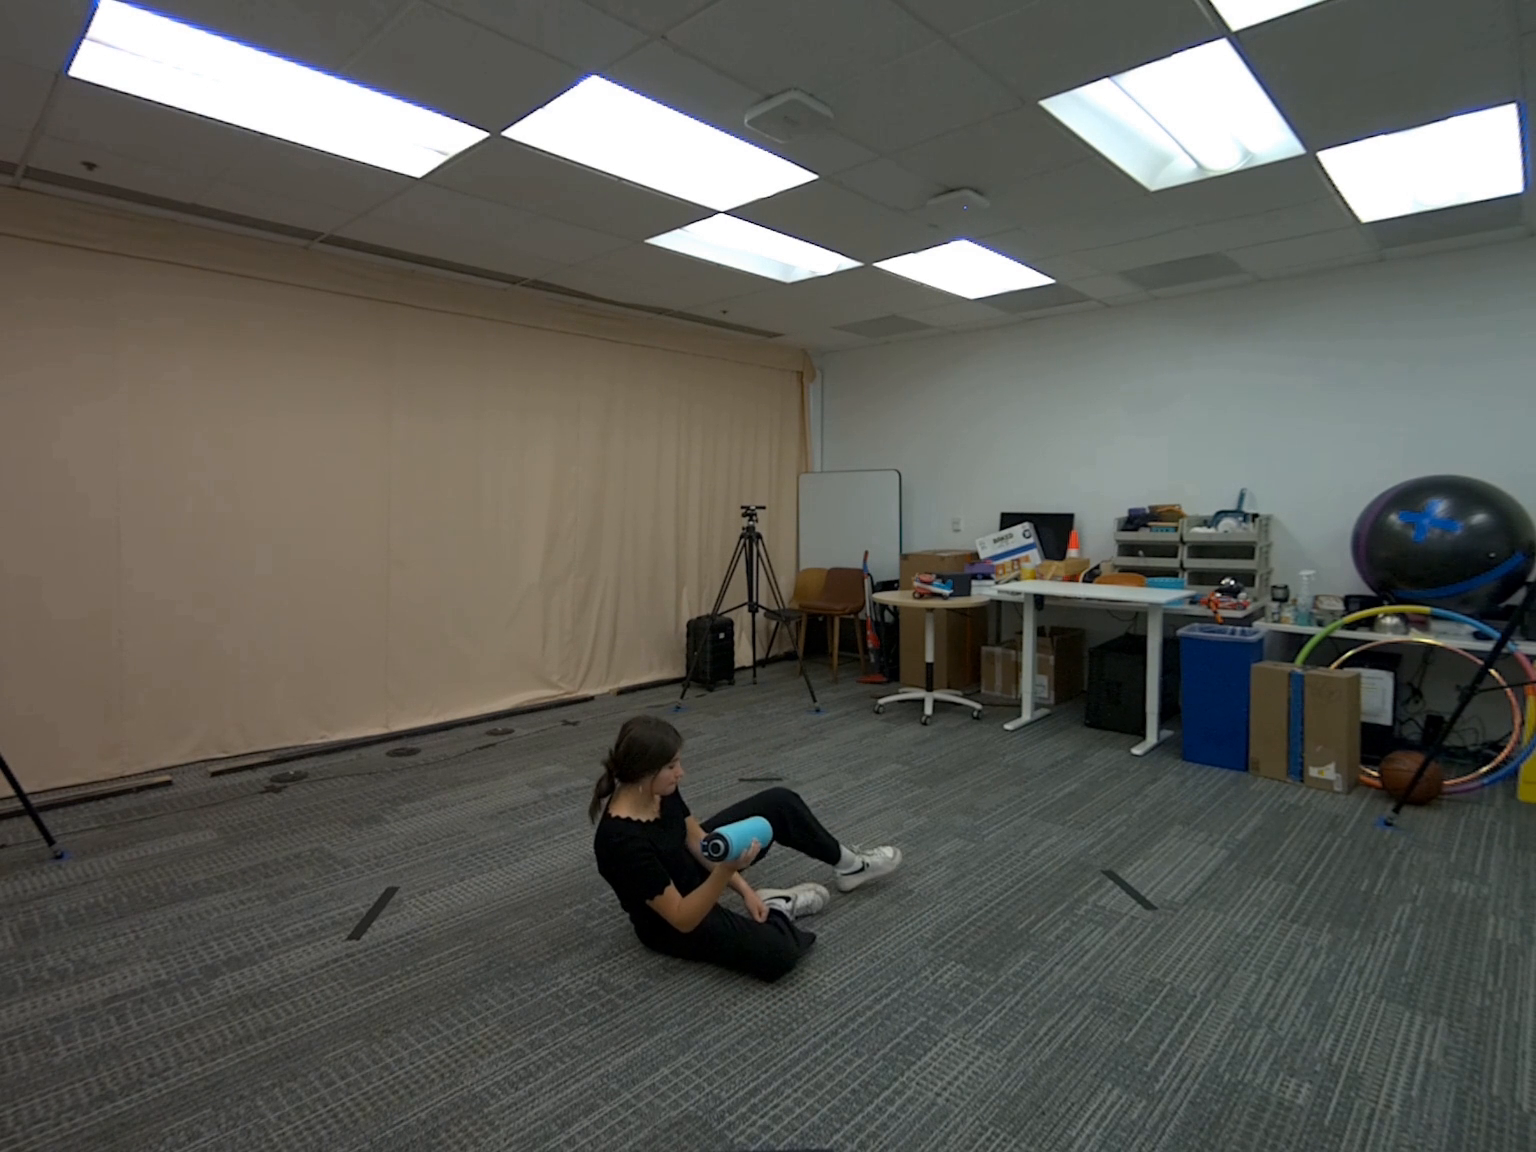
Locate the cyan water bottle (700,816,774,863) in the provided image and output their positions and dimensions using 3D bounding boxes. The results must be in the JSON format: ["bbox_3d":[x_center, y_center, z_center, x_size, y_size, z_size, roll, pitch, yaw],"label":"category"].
[{"bbox_3d":[-0.088,0.734,2.349,0.095,0.092,0.275,2,-4,27],"label":"cyan water bottle"}]
